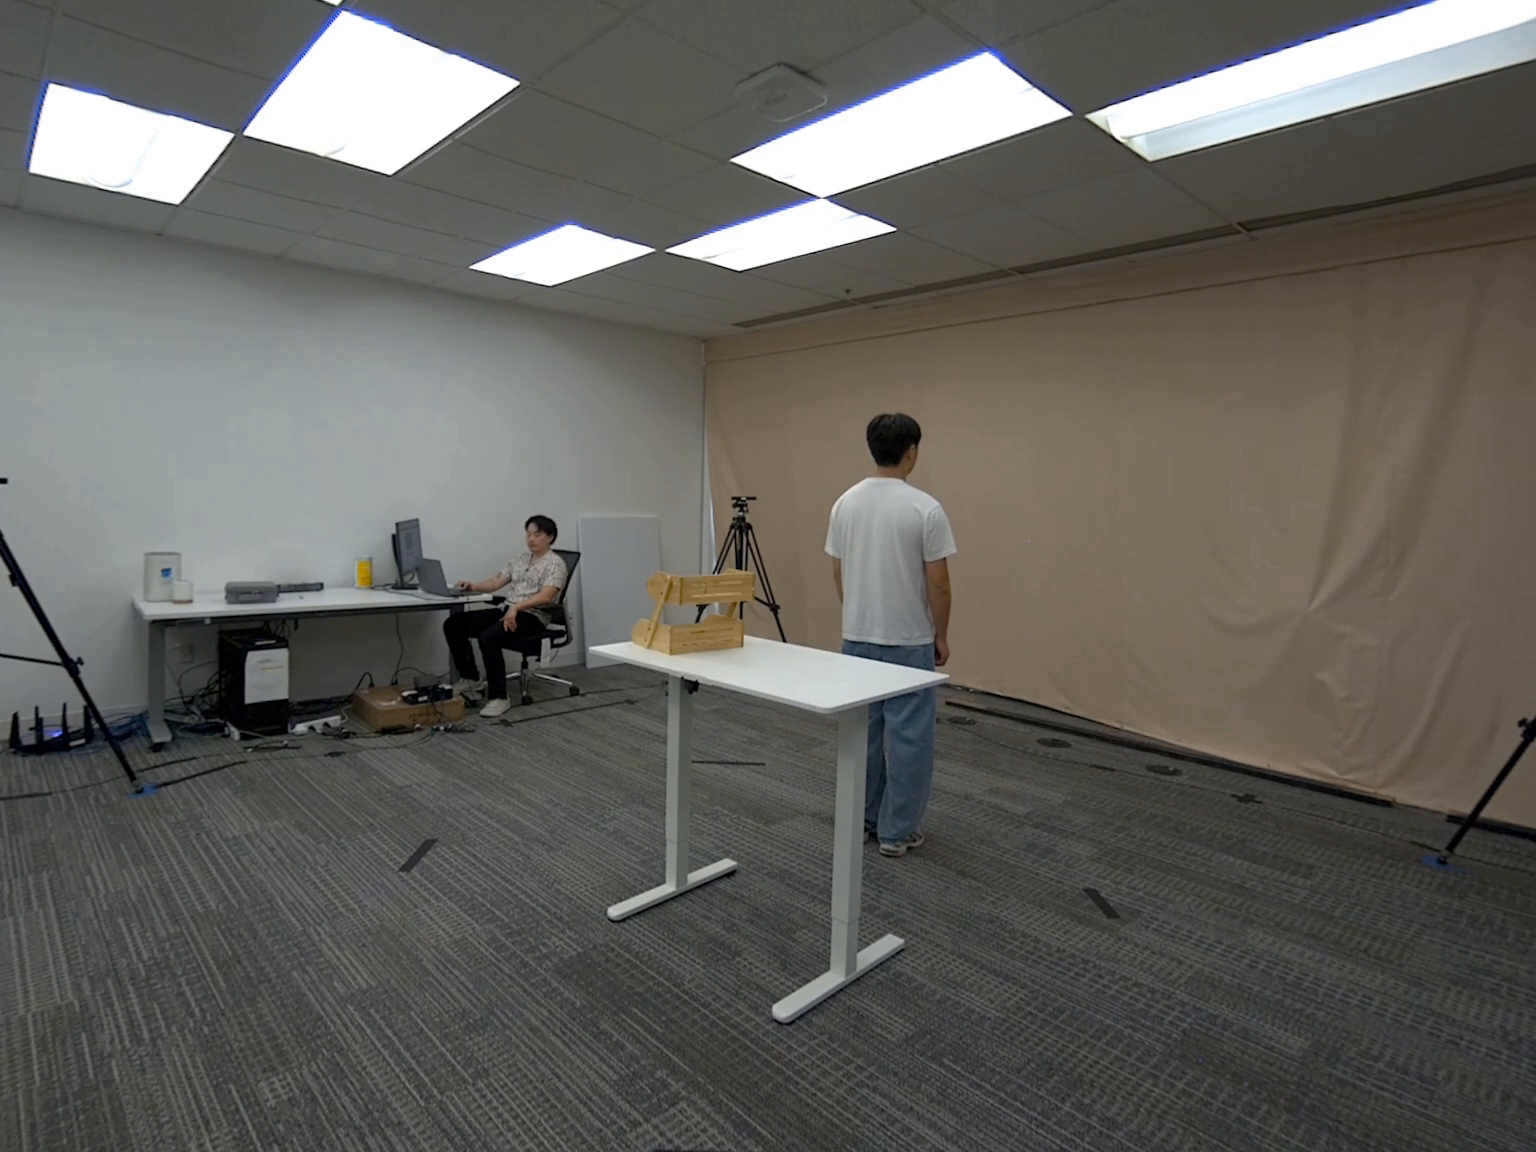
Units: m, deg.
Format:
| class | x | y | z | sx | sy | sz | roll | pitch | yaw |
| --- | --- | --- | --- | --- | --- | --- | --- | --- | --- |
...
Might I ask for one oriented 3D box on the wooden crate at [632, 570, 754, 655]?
| class | x | y | z | sx | sy | sz | roll | pitch | yaw |
| --- | --- | --- | --- | --- | --- | --- | --- | --- | --- |
| wooden crate | -0.262 | 0.108 | 2.855 | 0.317 | 0.272 | 0.310 | -2 | 7 | -38 |
